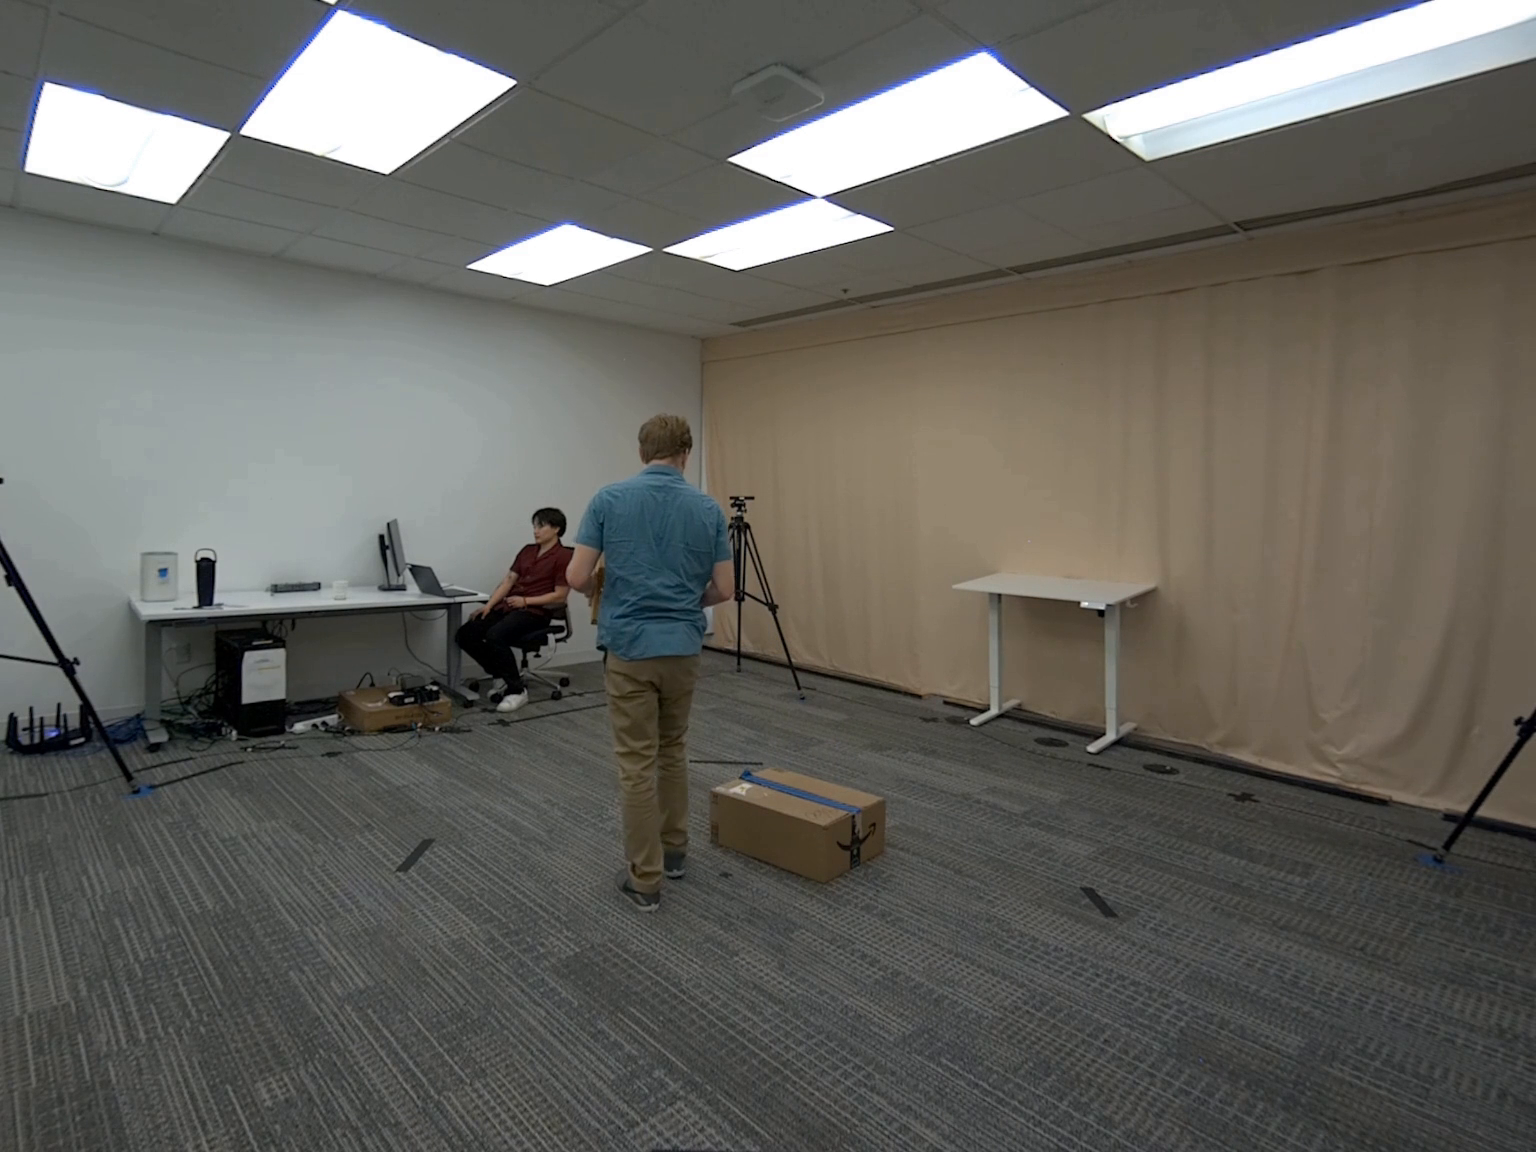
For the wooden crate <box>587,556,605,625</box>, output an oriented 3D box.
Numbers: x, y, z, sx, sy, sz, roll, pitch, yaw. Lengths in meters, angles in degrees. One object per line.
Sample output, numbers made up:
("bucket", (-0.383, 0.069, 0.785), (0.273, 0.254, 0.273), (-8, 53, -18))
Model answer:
("wooden crate", (-0.498, 0.014, 3.187), (0.320, 0.270, 0.310), (7, 34, -15))
